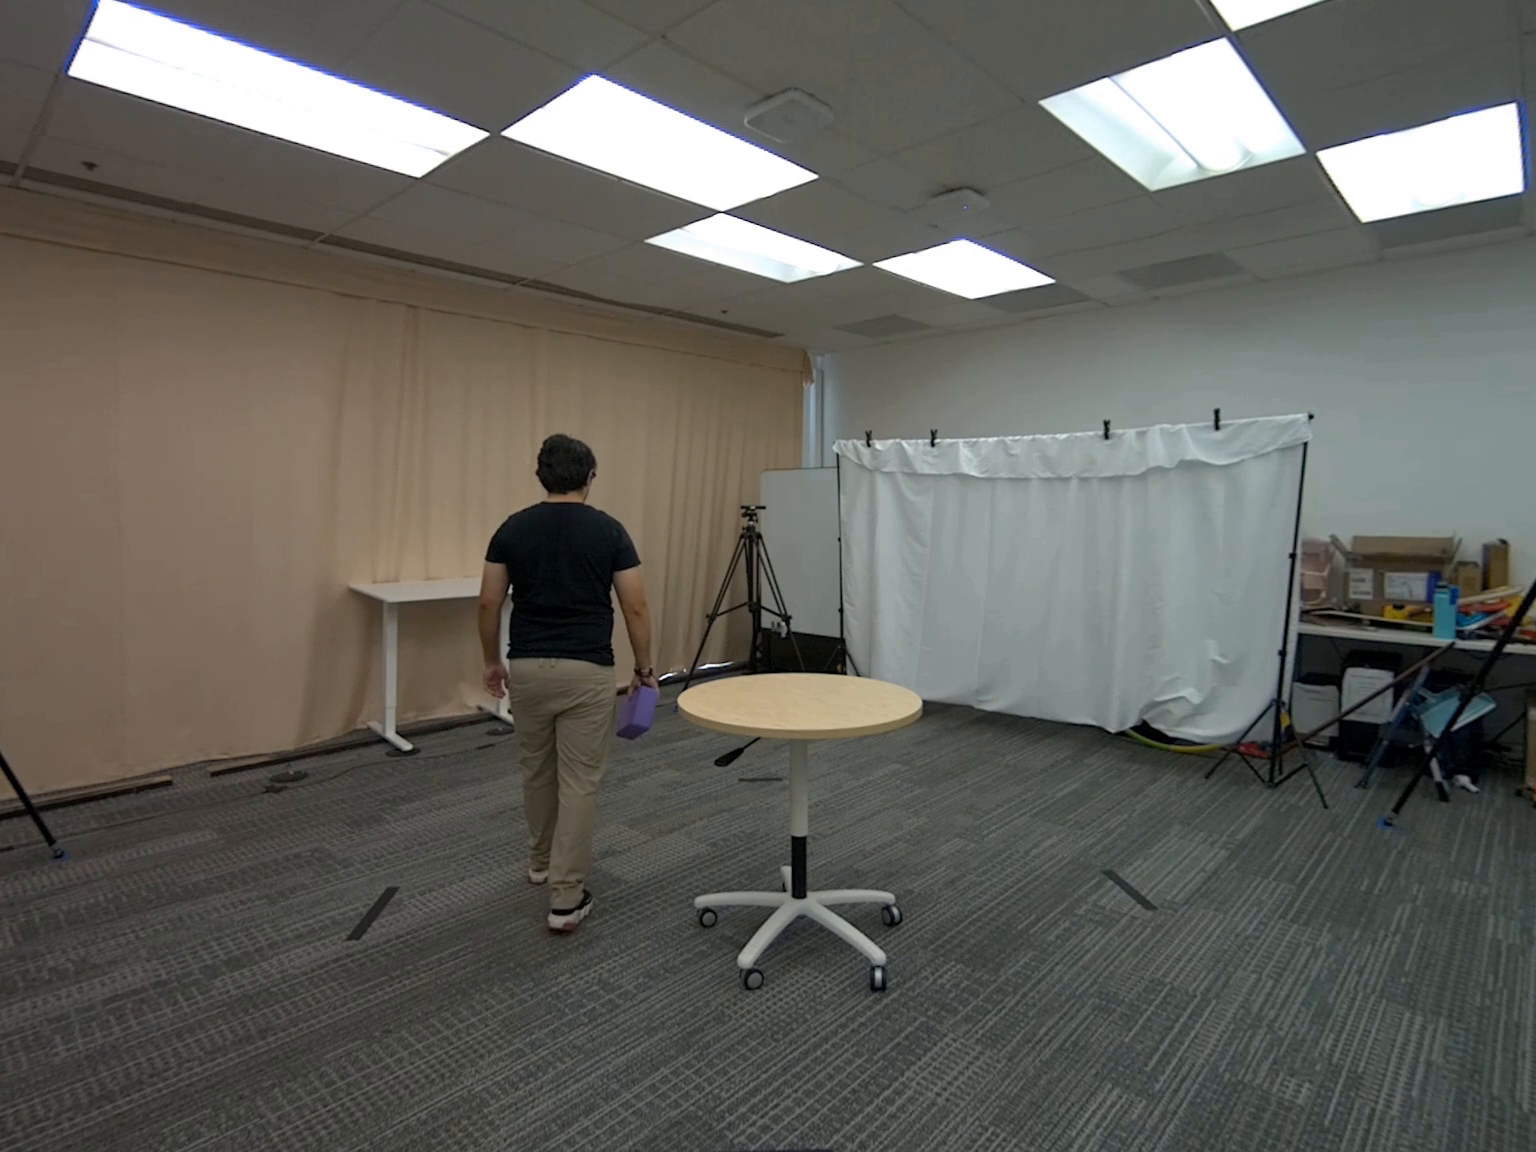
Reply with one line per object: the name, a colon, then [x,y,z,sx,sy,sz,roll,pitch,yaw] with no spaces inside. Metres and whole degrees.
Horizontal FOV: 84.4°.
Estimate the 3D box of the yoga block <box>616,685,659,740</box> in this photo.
yoga block: [-0.488,0.502,3.055,0.075,0.150,0.230,15,-23,-11]
